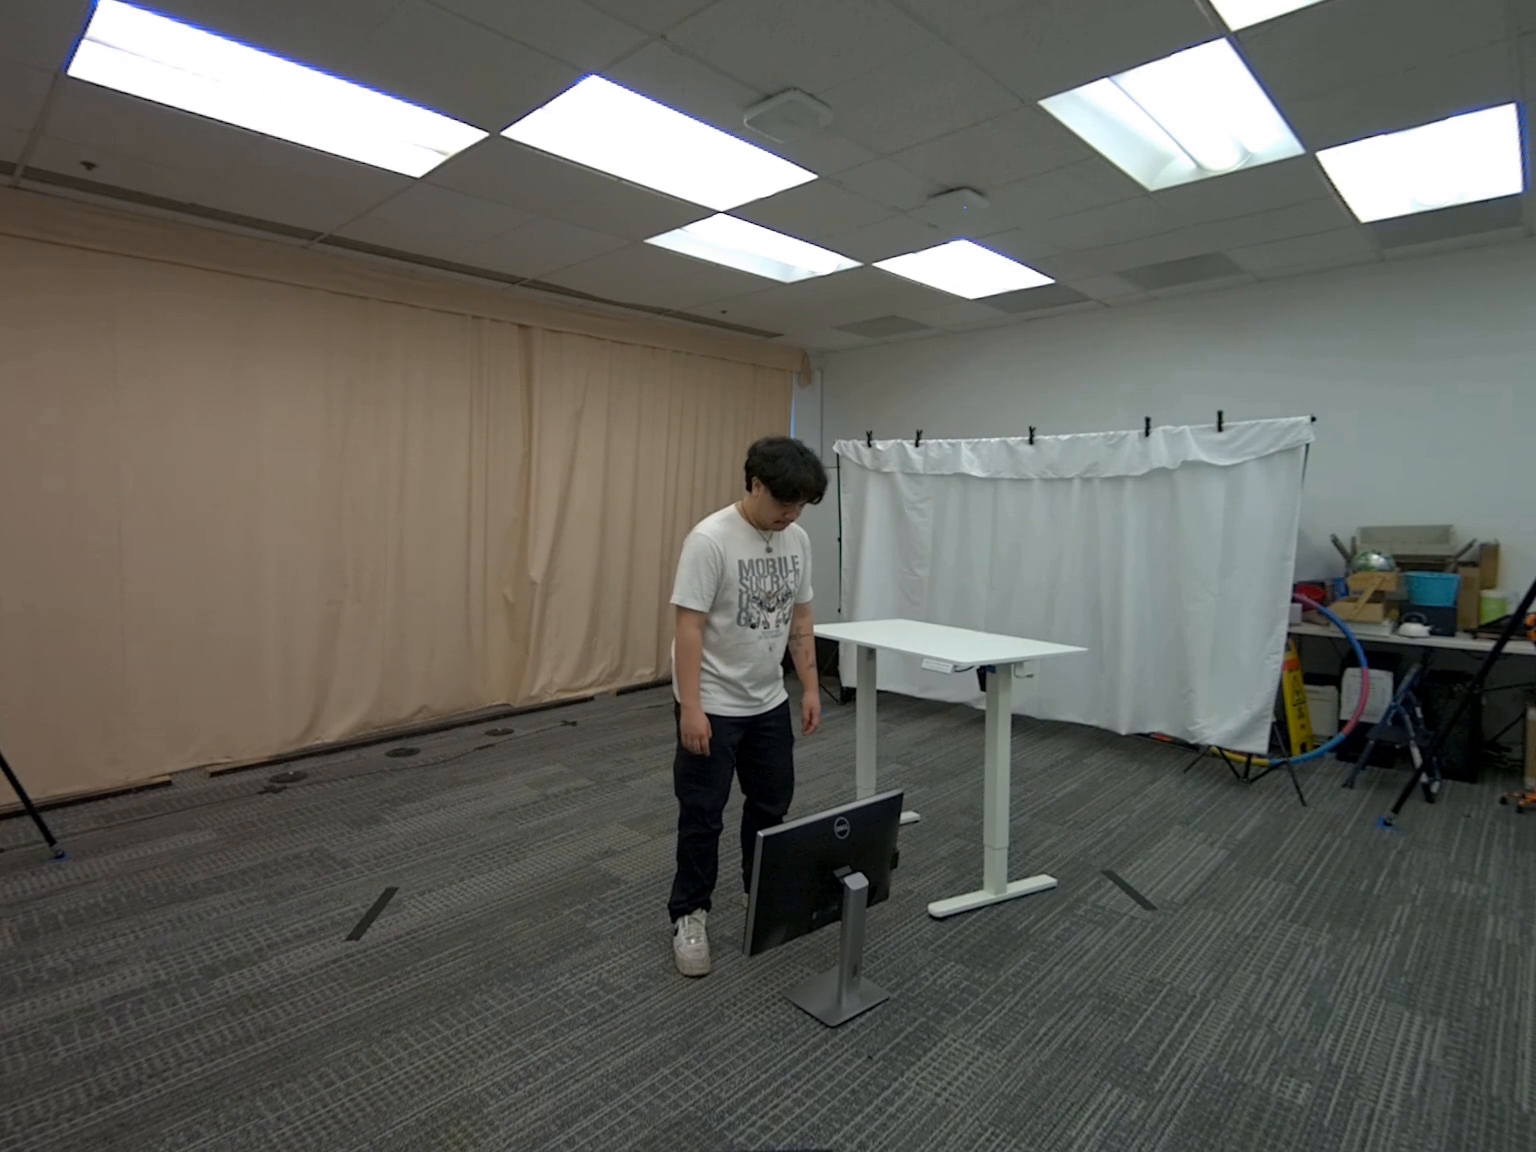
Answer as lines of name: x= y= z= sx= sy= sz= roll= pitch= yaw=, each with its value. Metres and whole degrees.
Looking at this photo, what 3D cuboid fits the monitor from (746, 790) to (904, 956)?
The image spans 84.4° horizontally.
monitor: x=0.217 y=0.934 z=2.349 sx=0.548 sy=0.552 sz=0.217 roll=-2 pitch=9 yaw=-38
